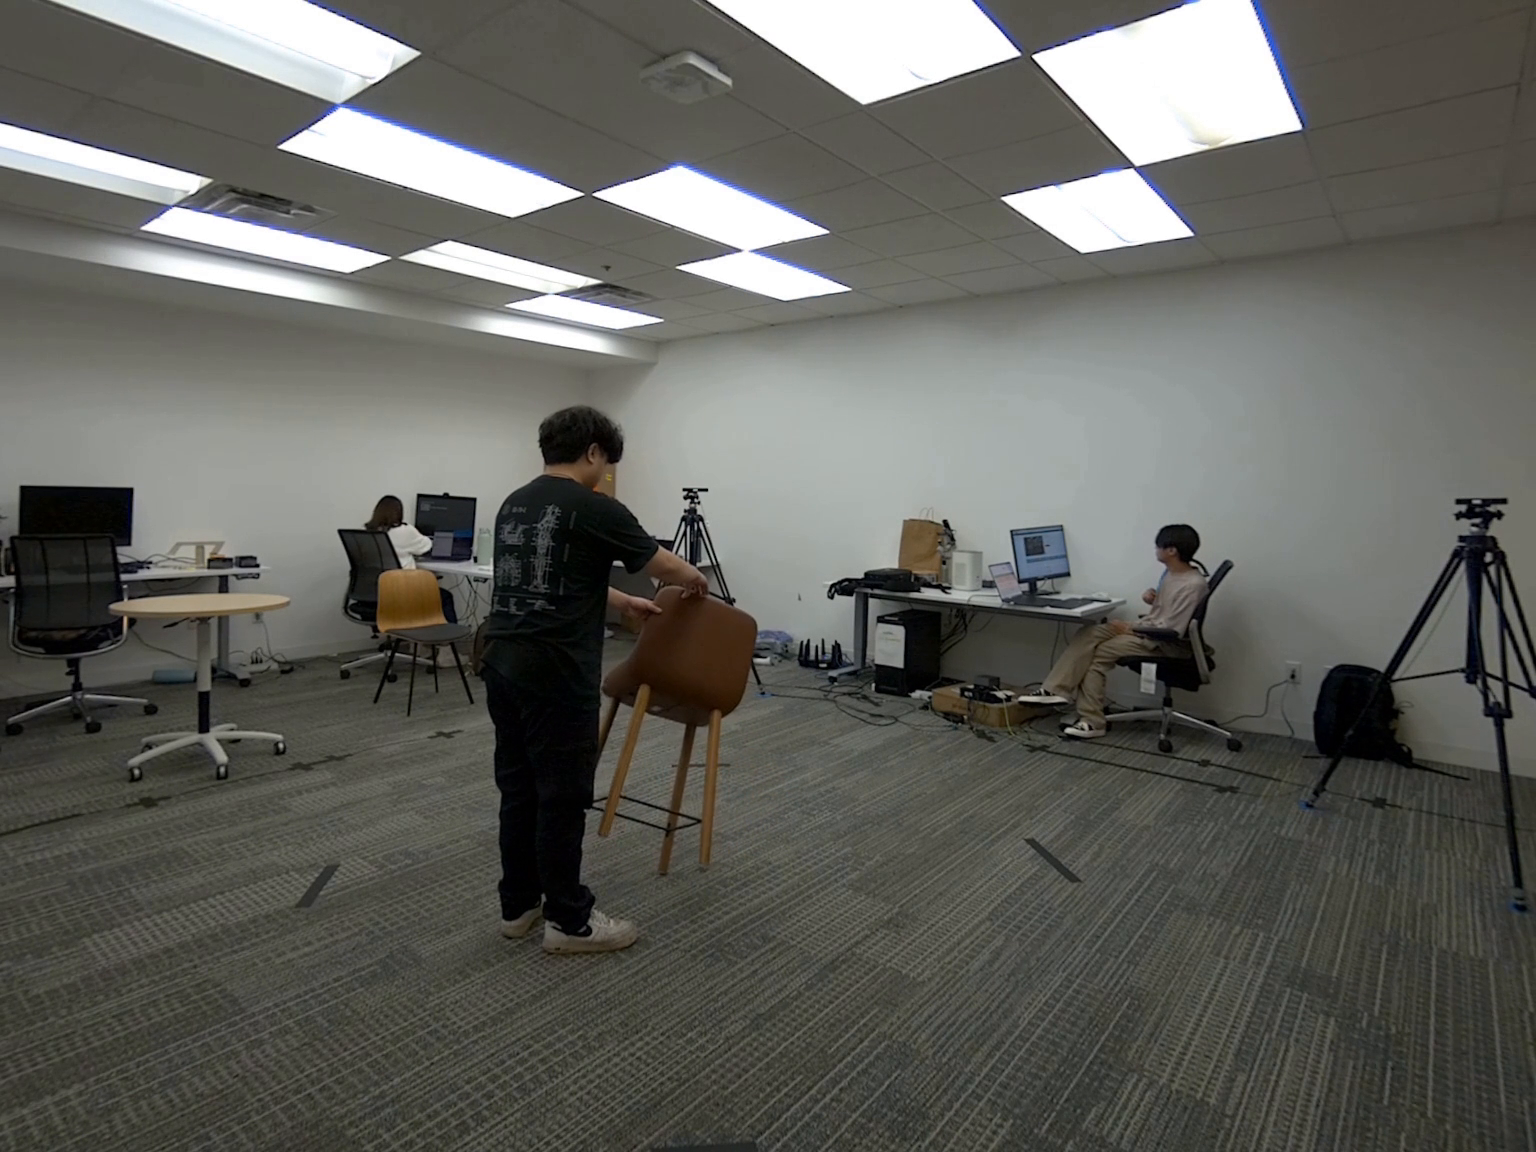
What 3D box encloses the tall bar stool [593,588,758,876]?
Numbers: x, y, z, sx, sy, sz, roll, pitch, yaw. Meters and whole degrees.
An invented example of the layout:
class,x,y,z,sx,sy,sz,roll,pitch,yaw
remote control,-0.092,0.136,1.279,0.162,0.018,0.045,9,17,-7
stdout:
class,x,y,z,sx,sy,sz,roll,pitch,yaw
tall bar stool,-0.382,0.547,3.041,0.446,0.905,0.470,21,-27,-19
